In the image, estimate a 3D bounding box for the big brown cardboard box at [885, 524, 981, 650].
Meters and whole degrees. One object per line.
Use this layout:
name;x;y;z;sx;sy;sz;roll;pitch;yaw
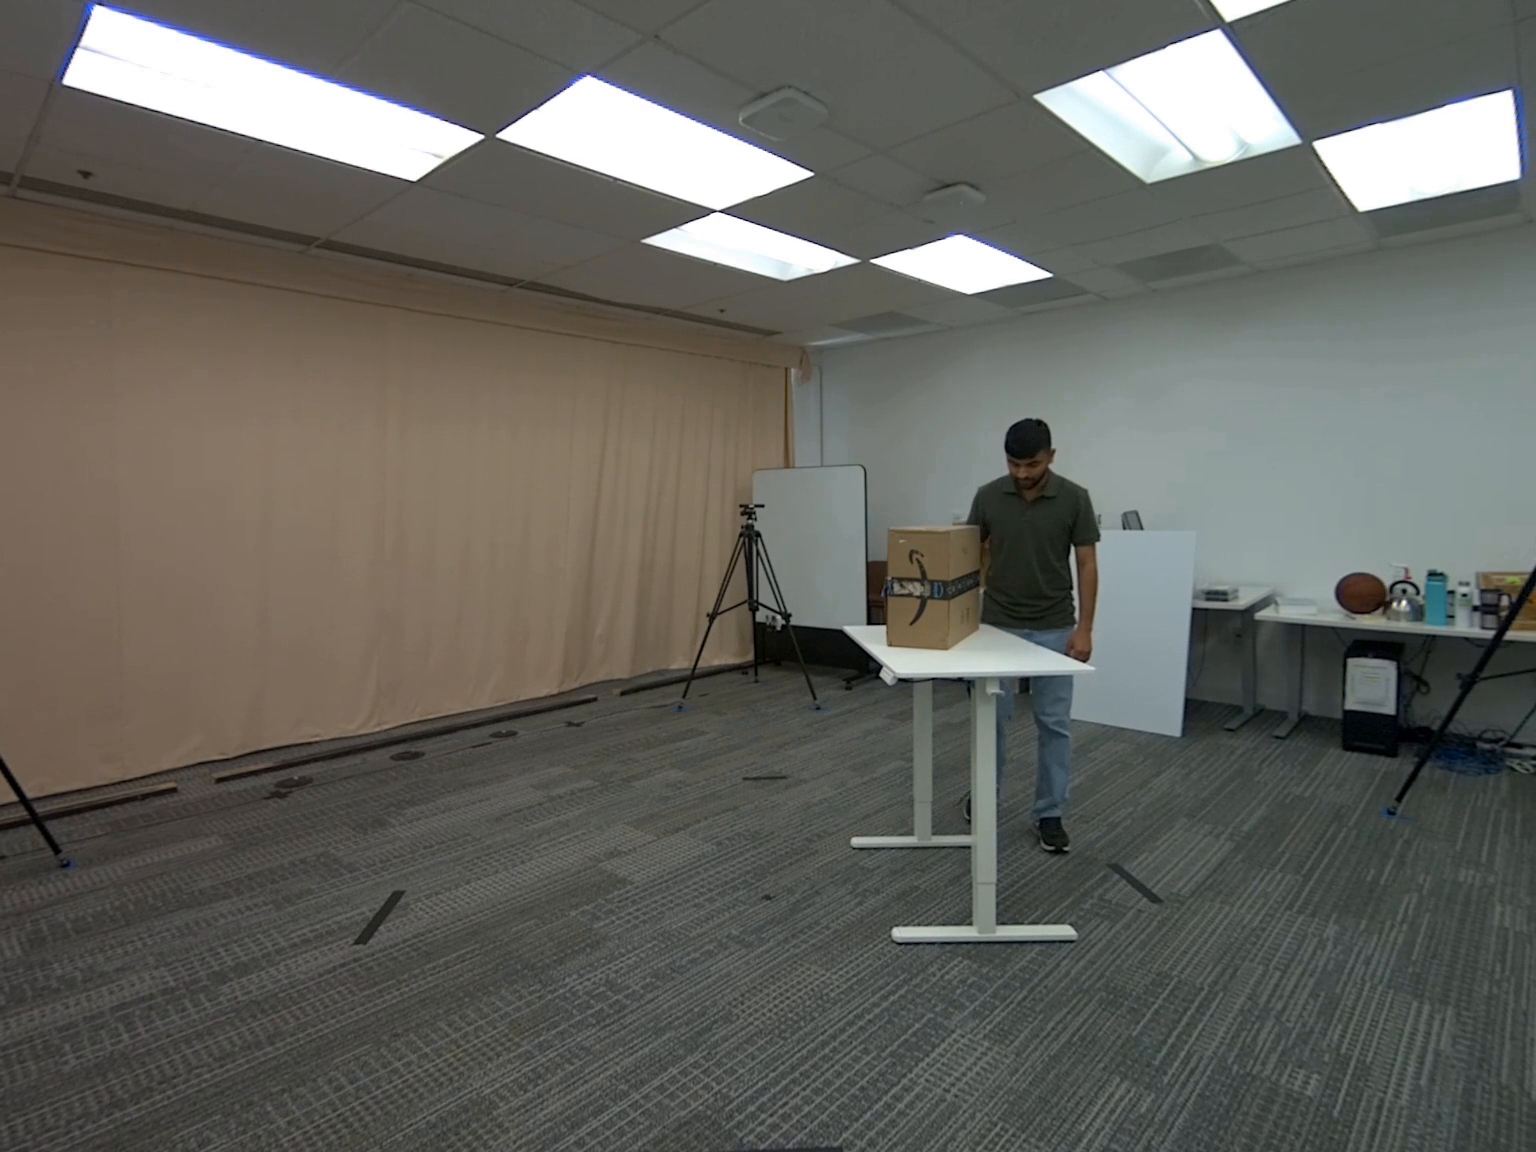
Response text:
big brown cardboard box;0.634;0.026;3.157;0.239;0.416;0.575;2;4;26
